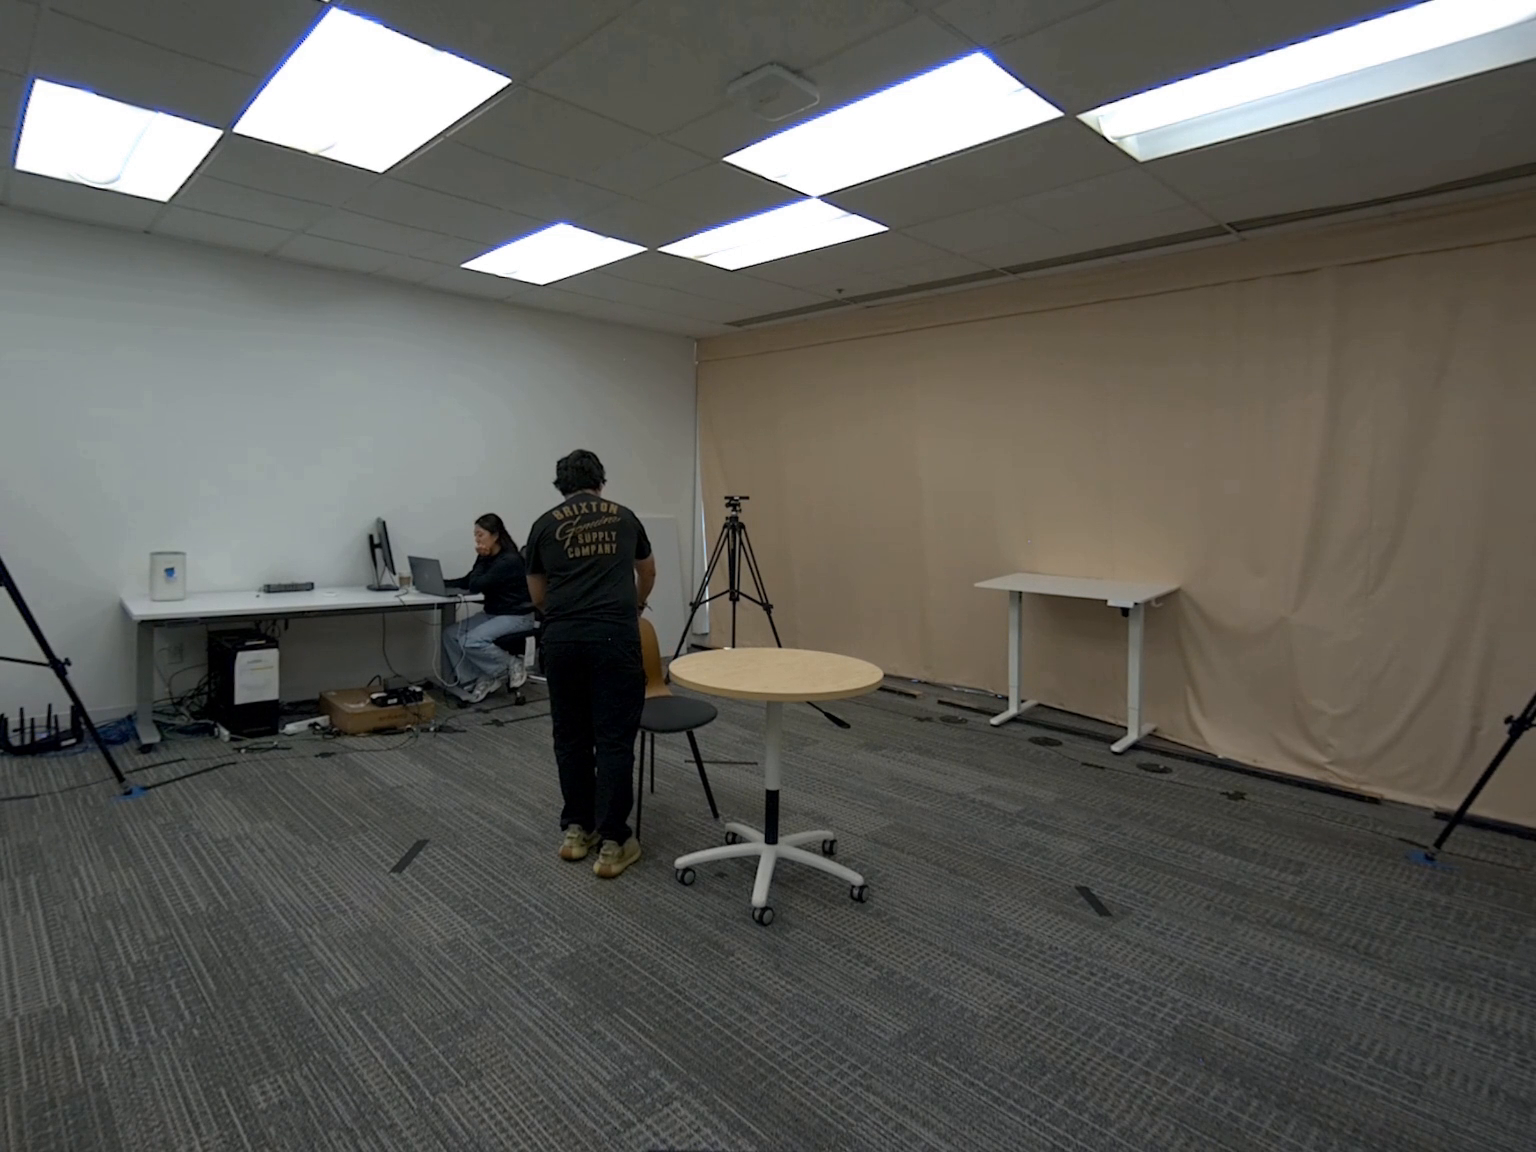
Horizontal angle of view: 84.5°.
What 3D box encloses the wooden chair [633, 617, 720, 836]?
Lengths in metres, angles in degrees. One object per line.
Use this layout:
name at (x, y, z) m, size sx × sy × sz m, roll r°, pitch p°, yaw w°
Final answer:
wooden chair at (-0.523, 0.617, 3.633) m, size 0.535 × 0.878 × 0.467 m, roll -2°, pitch -1°, yaw 44°
